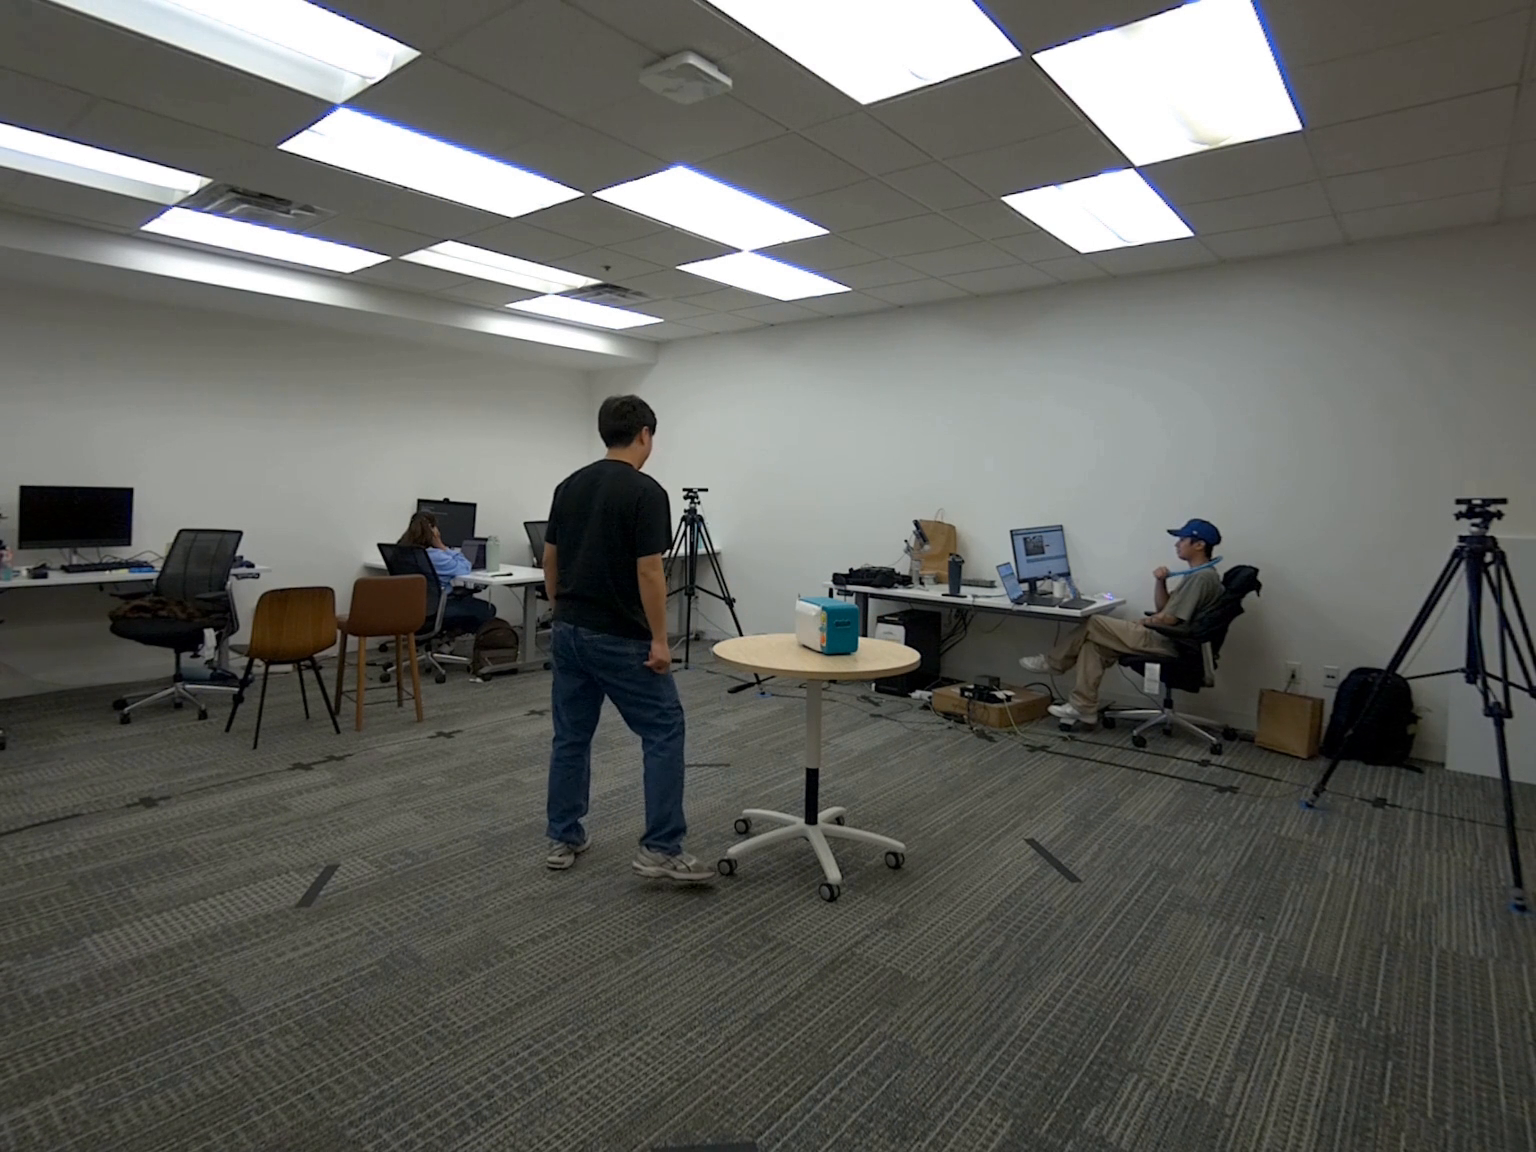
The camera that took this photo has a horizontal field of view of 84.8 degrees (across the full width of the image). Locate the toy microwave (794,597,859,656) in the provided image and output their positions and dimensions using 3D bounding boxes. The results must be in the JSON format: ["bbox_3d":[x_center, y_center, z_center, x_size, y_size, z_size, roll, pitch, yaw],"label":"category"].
[{"bbox_3d":[0.202,0.183,3.193,0.149,0.183,0.293,-2,6,-20],"label":"toy microwave"}]
